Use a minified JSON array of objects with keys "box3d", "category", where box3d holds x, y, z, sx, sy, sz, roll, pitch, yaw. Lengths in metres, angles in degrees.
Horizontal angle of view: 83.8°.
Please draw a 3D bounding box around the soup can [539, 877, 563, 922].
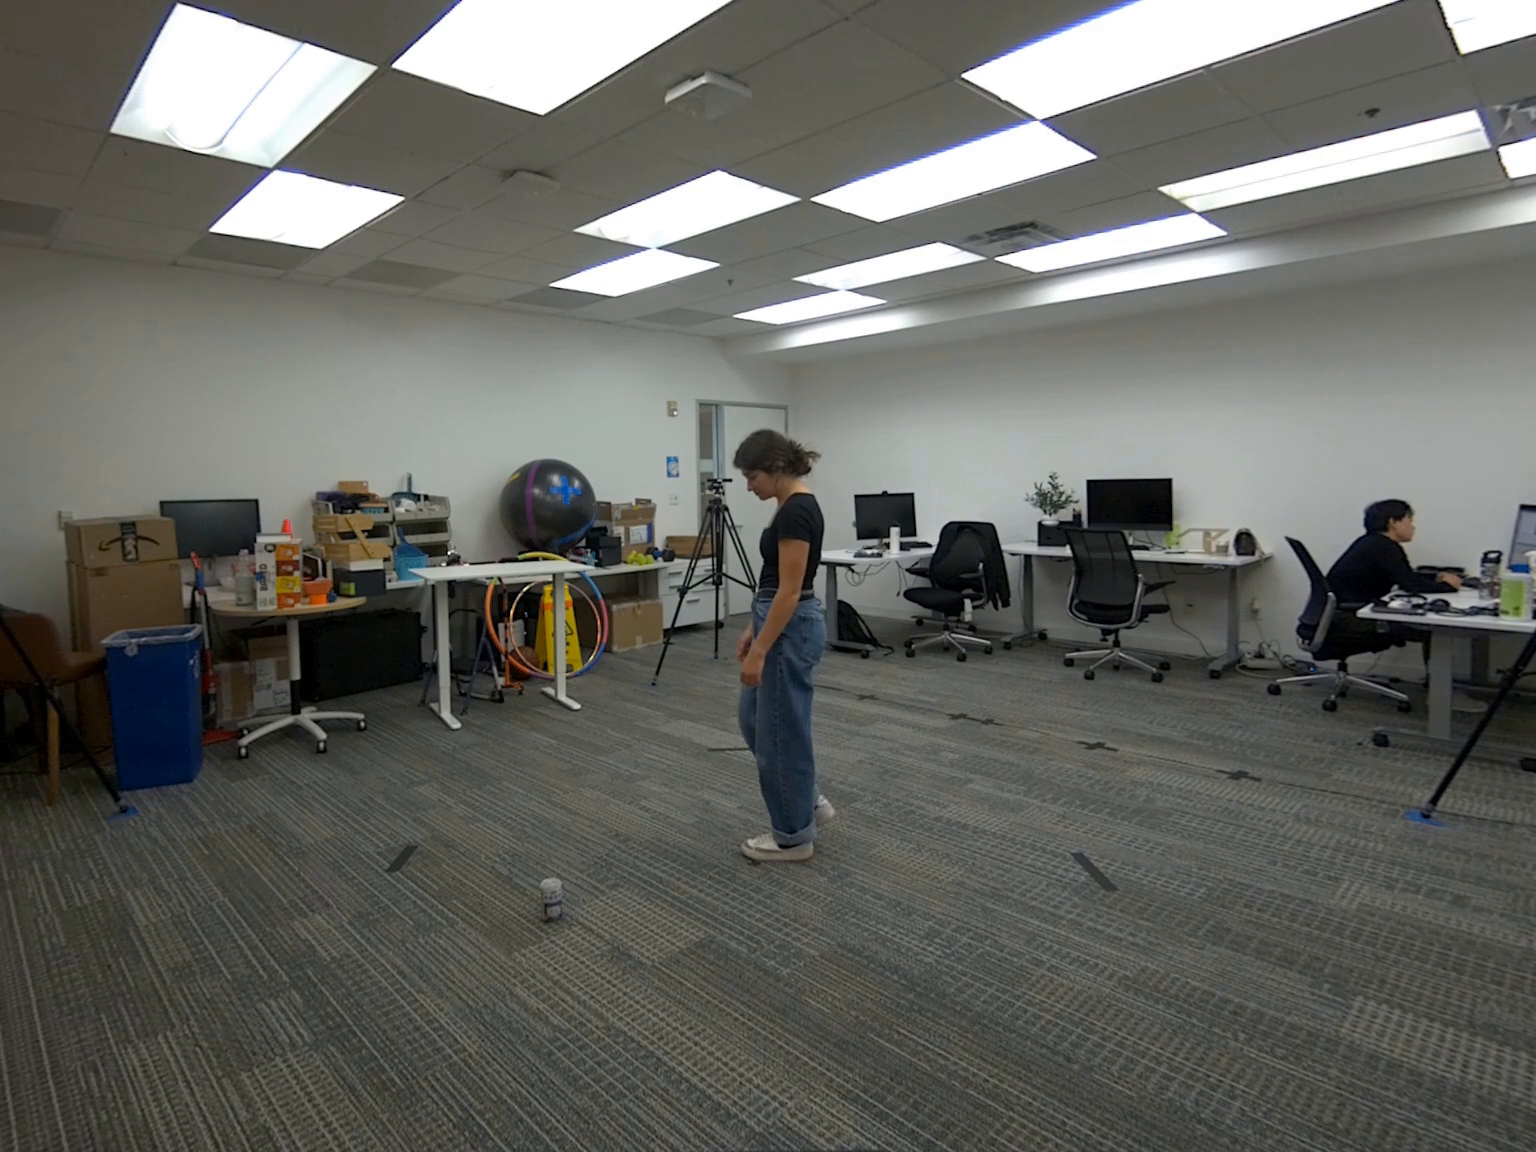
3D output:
[{"box3d":[-0.692,1.040,2.737,0.067,0.121,0.067,-1,4,-2],"category":"soup can"}]
